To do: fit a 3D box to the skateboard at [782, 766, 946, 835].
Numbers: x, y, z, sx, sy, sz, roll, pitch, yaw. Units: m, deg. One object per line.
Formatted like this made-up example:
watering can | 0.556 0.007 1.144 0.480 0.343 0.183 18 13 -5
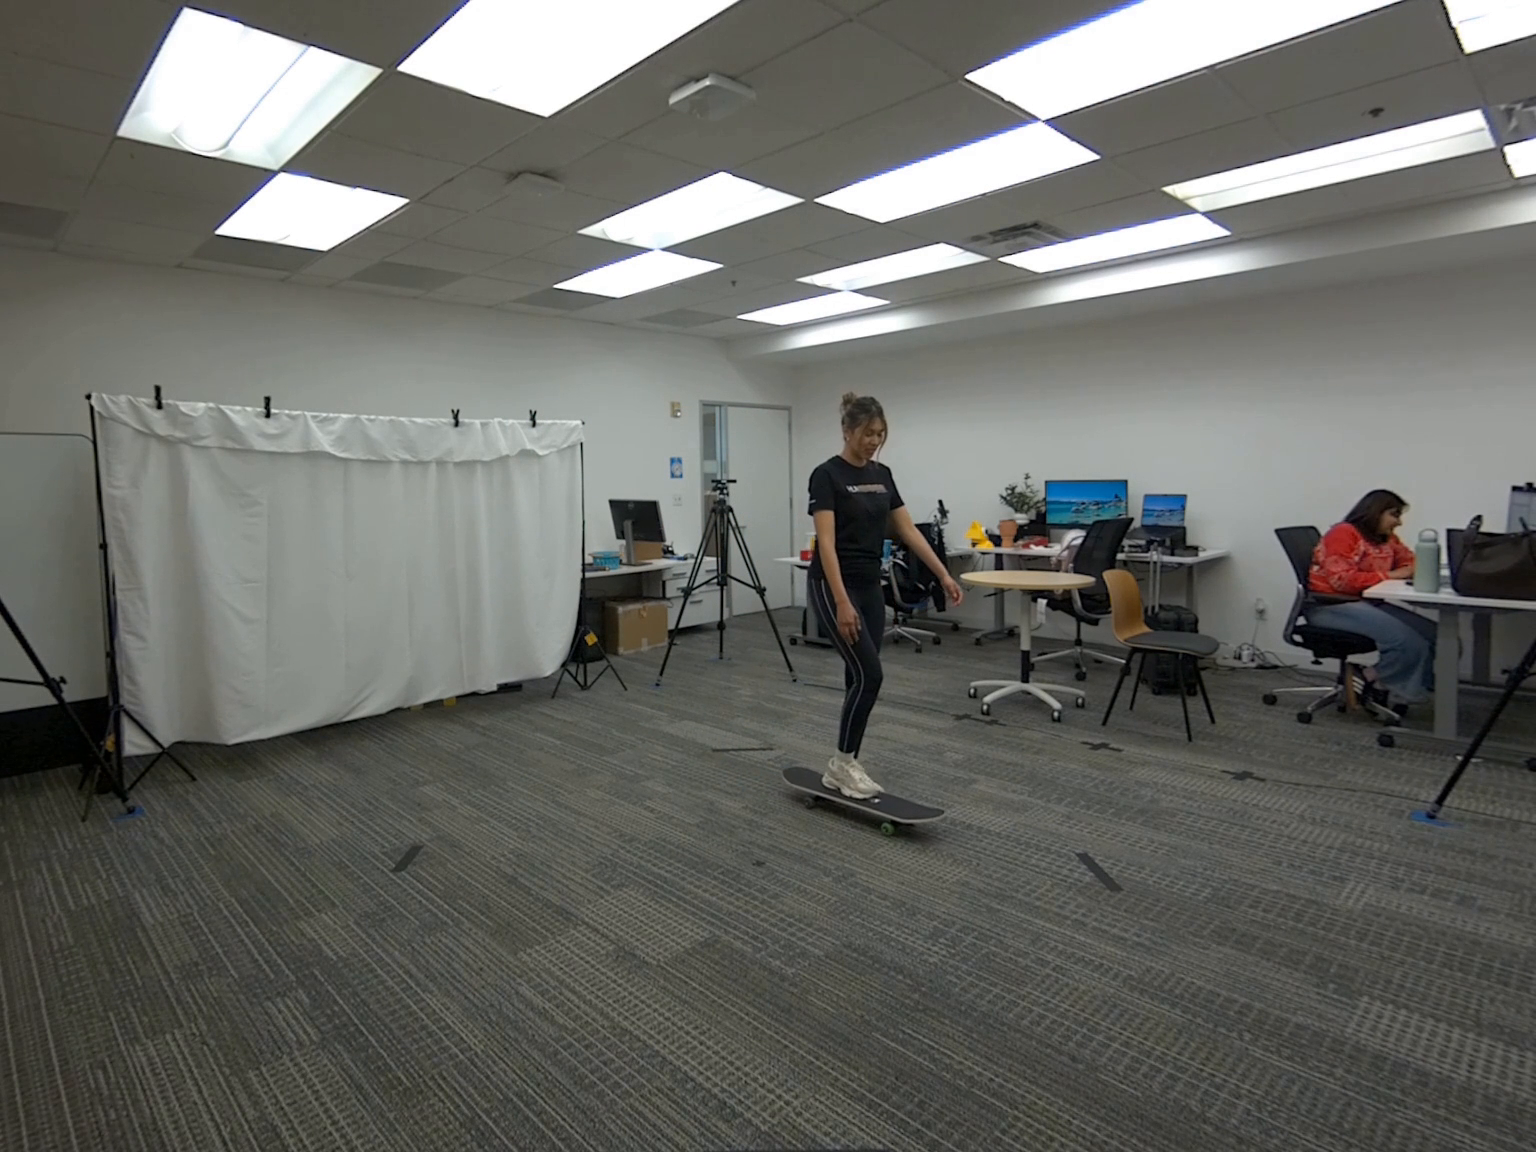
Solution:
skateboard | 0.382 0.942 3.533 0.188 0.110 0.810 -6 8 -44
